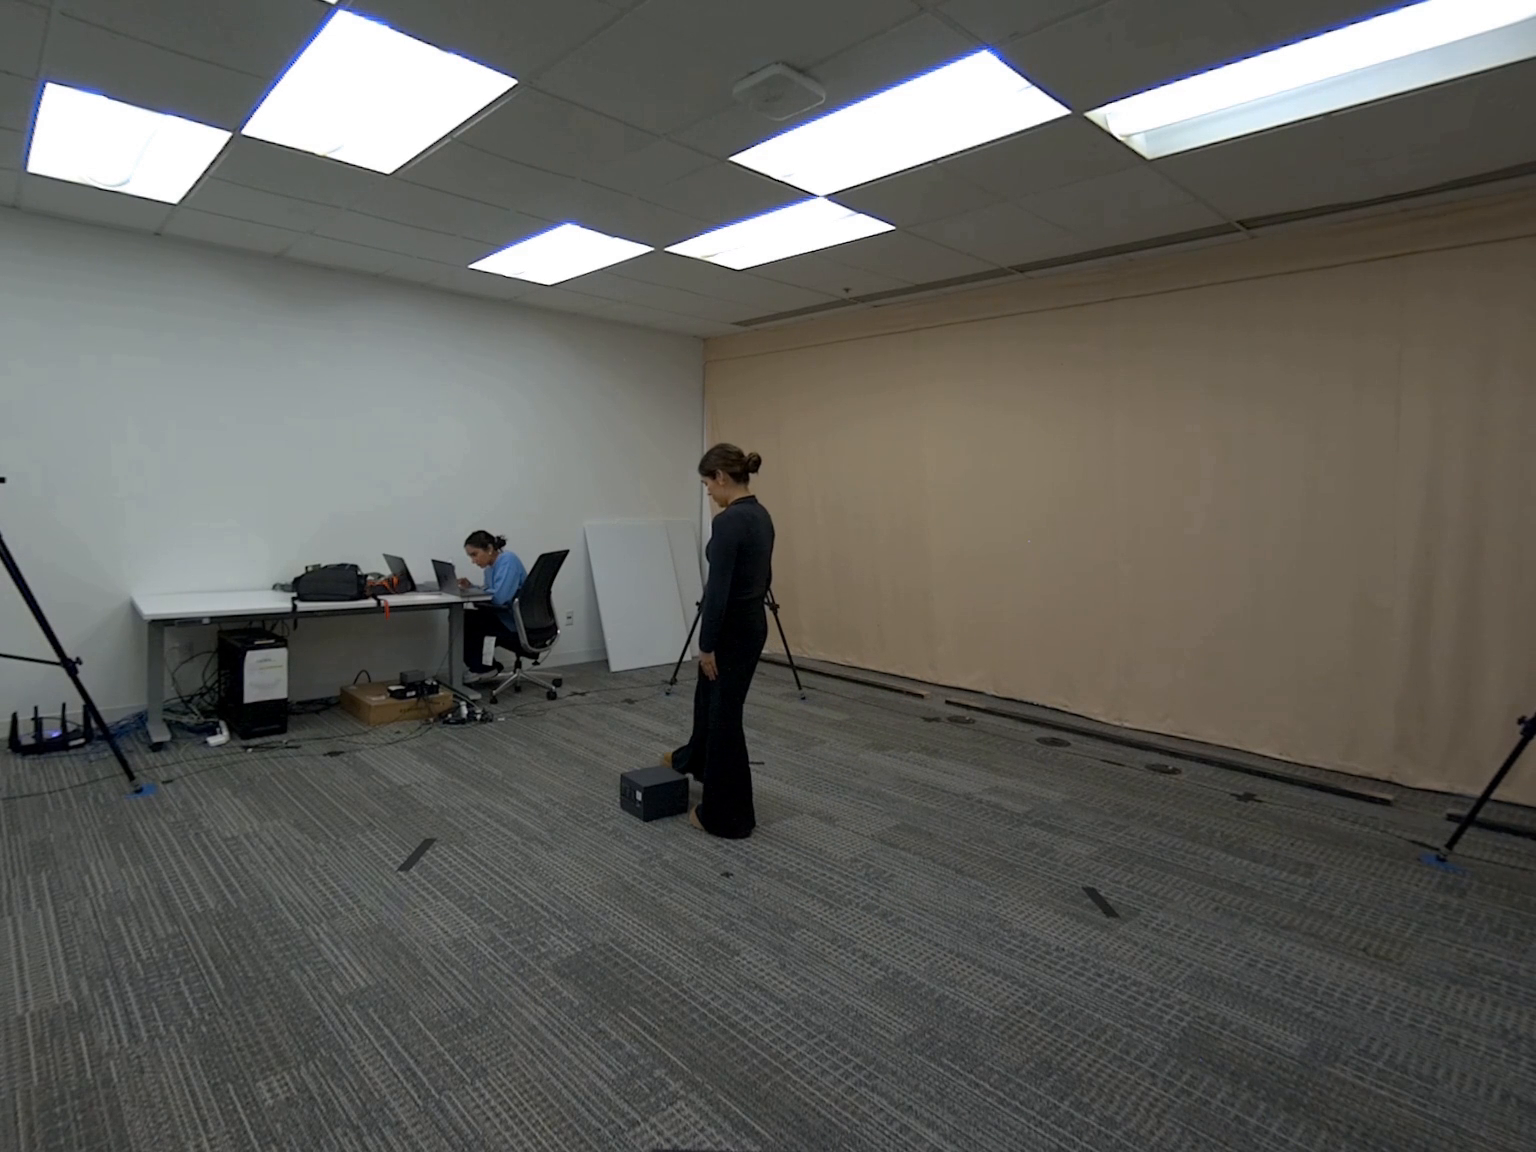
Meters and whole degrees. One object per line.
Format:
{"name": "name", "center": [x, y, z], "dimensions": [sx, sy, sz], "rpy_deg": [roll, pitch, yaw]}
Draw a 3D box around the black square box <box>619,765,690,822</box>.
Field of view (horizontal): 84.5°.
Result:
{"name": "black square box", "center": [-0.506, 0.953, 3.720], "dimensions": [0.223, 0.155, 0.222], "rpy_deg": [-2, 5, -38]}
